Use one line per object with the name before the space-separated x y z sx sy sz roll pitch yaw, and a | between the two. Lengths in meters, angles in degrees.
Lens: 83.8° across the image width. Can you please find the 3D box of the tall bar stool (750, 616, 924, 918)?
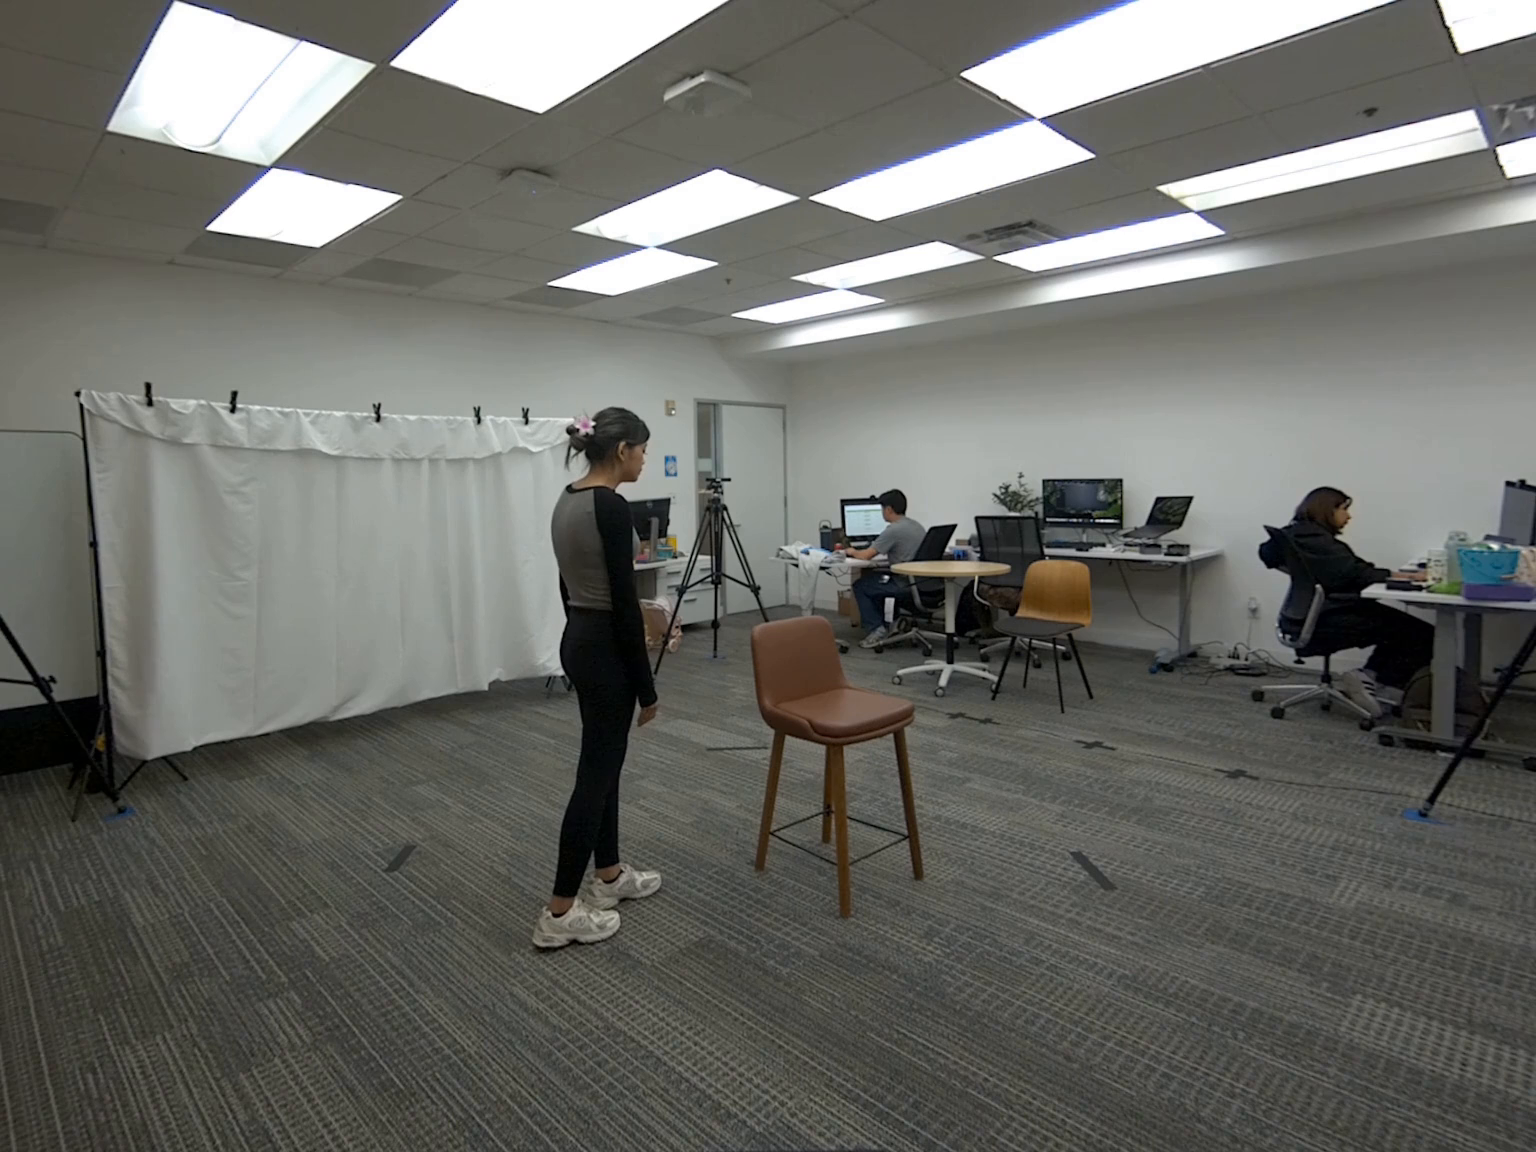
tall bar stool | 0.235 0.616 2.986 0.444 0.888 0.481 -4 4 -42
